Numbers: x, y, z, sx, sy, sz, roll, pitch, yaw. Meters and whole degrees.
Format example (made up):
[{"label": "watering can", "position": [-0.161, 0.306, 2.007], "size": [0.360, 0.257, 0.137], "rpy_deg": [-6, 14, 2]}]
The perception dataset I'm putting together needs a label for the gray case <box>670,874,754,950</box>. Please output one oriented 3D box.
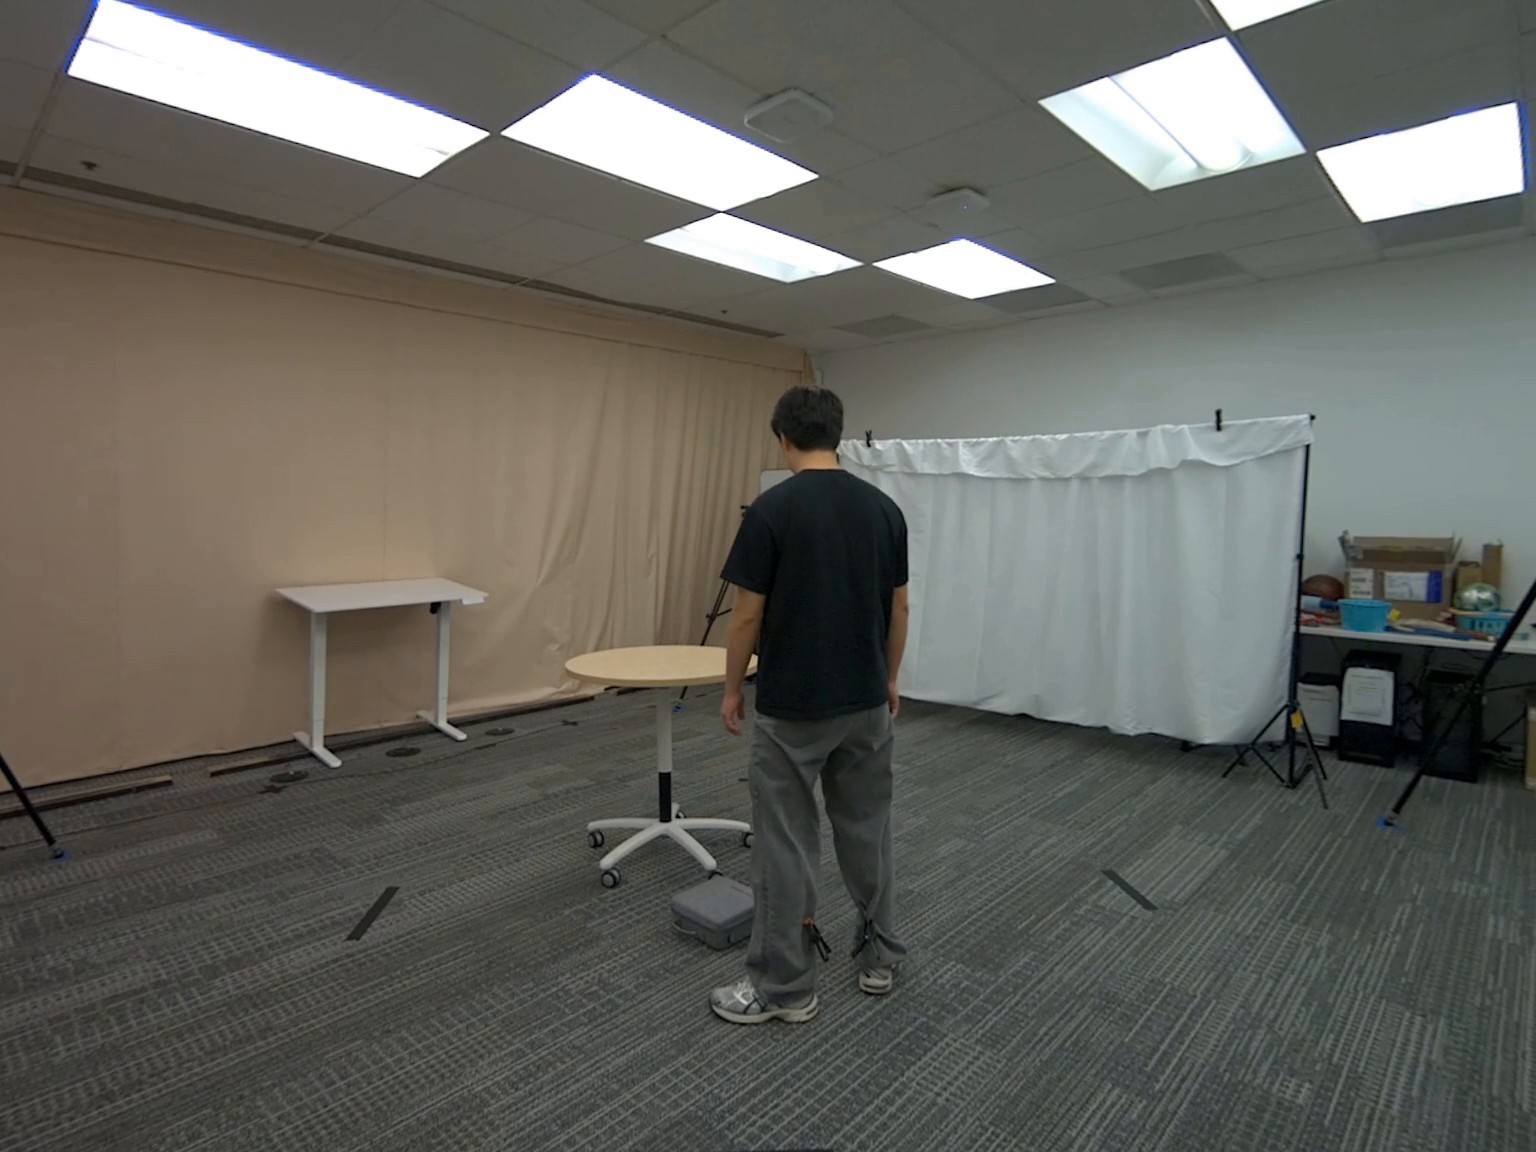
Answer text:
[{"label": "gray case", "position": [-0.159, 1.109, 2.776], "size": [0.278, 0.103, 0.272], "rpy_deg": [-6, 7, -44]}]
